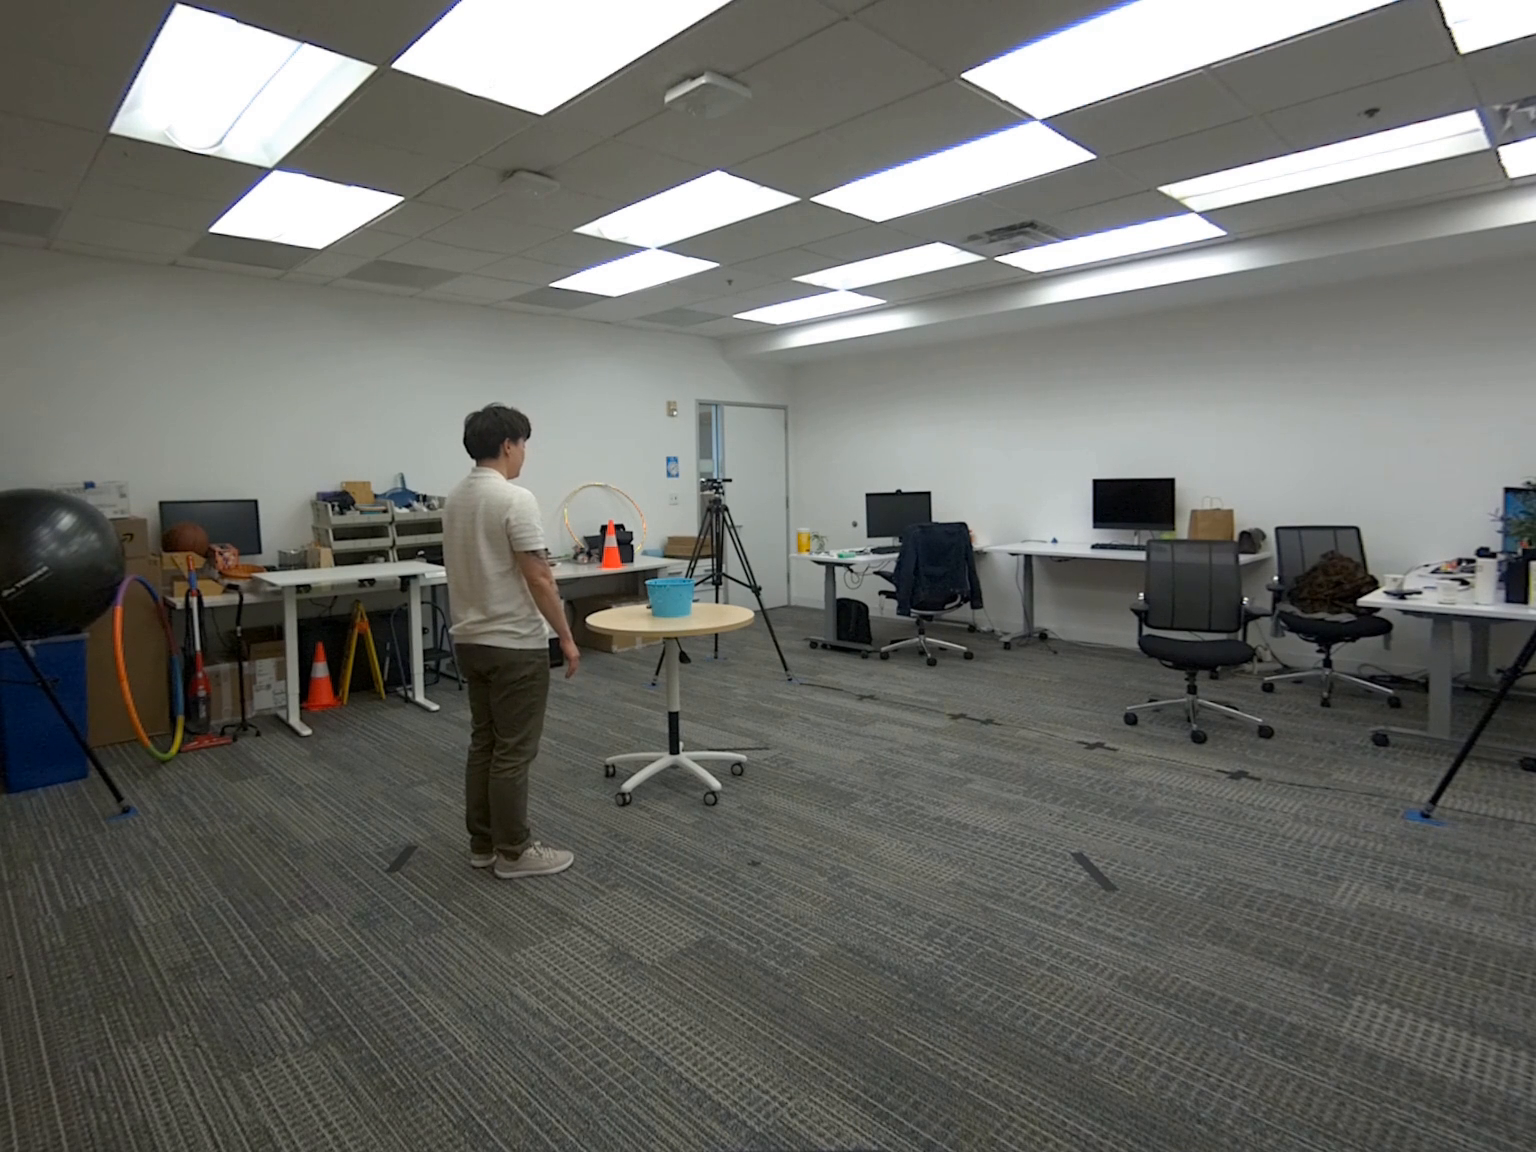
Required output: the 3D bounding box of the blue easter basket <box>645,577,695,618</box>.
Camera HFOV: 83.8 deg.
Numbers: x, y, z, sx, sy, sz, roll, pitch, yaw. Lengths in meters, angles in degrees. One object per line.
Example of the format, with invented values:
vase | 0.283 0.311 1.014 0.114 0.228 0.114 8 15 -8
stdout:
blue easter basket | -0.448 0.101 3.946 0.243 0.155 0.245 -1 5 -2
